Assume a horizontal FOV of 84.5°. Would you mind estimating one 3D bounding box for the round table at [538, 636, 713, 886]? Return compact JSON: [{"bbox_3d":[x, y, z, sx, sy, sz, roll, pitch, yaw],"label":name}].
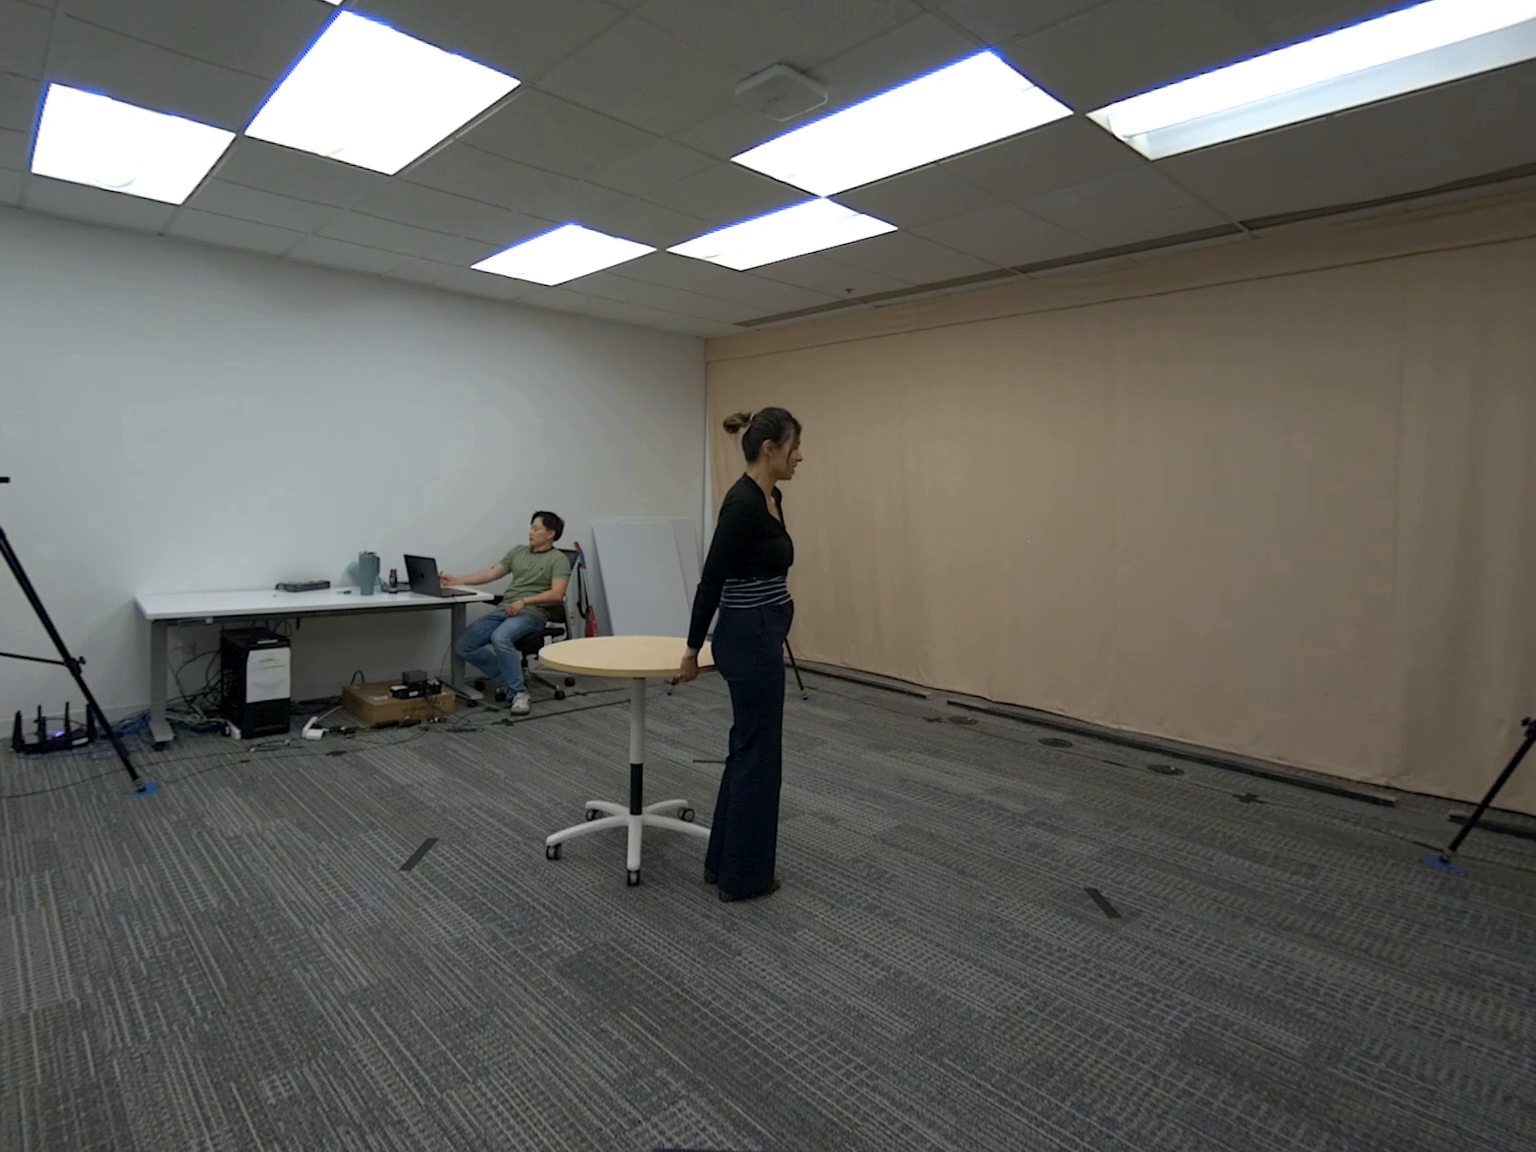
[{"bbox_3d":[-0.525,0.688,3.299,0.763,0.792,0.766,1,4,-1],"label":"round table"}]
